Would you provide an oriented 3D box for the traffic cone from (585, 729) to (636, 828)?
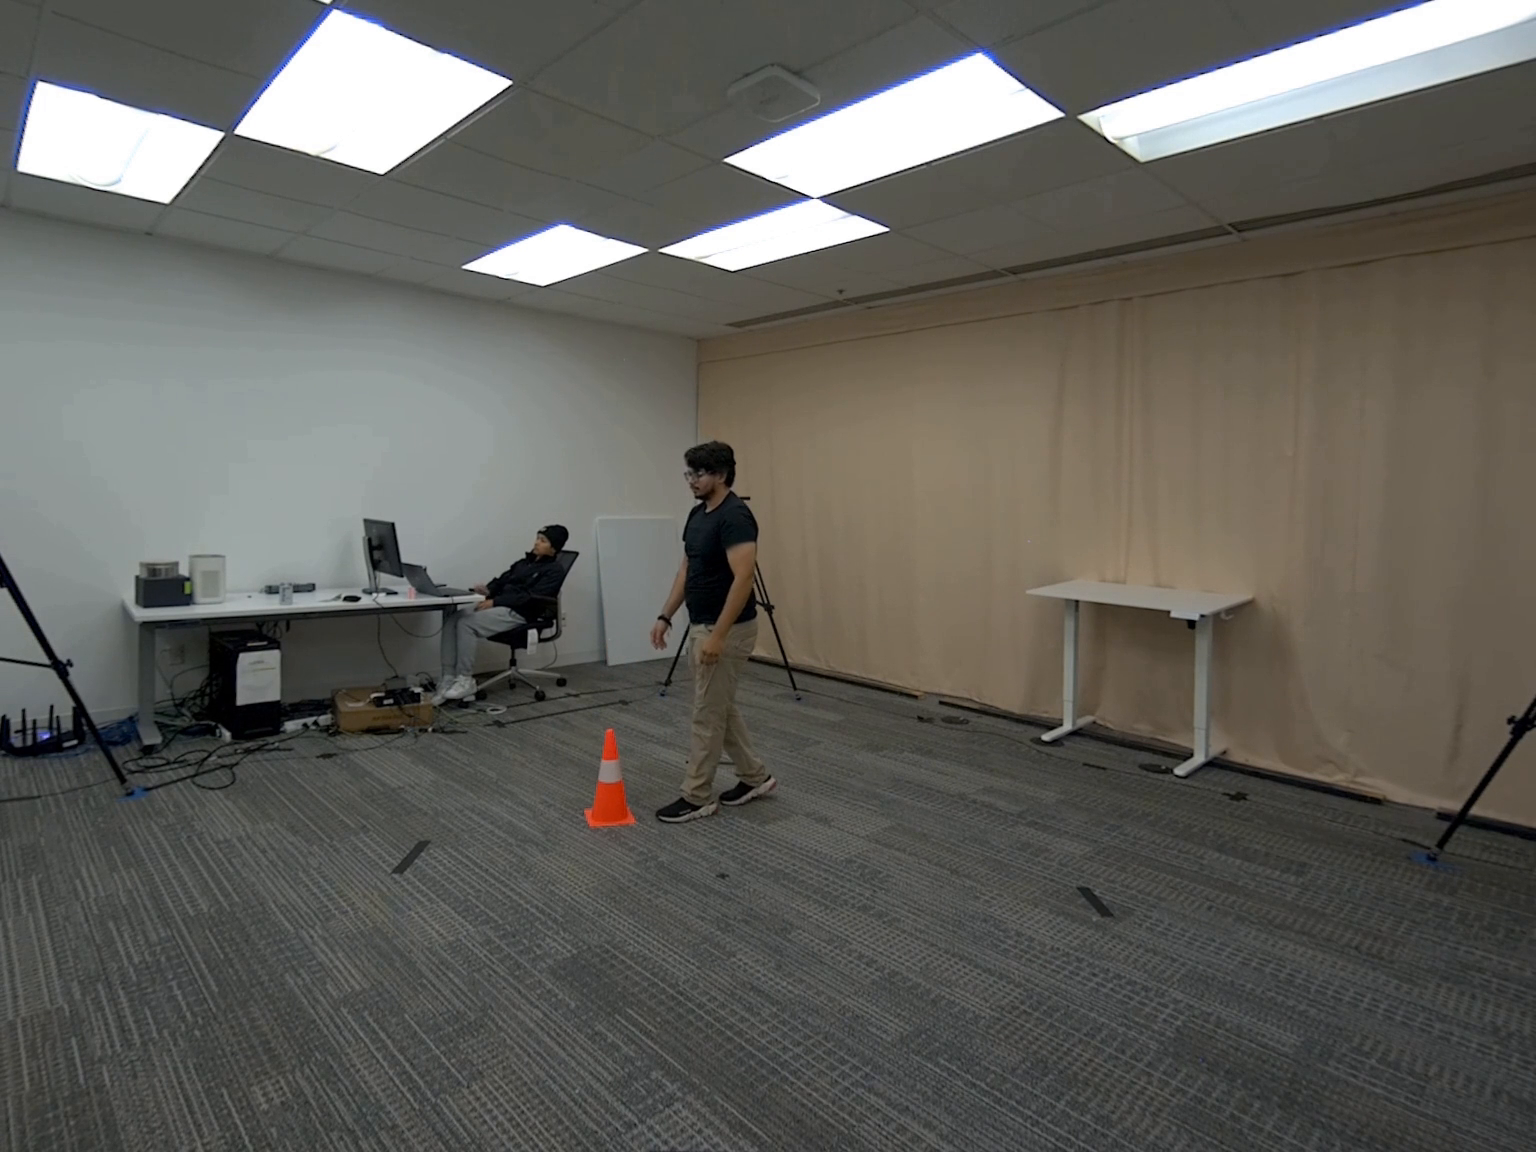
[{"bbox_3d":[-0.692,0.863,3.652,0.202,0.383,0.207,1,3,-19],"label":"traffic cone"}]
